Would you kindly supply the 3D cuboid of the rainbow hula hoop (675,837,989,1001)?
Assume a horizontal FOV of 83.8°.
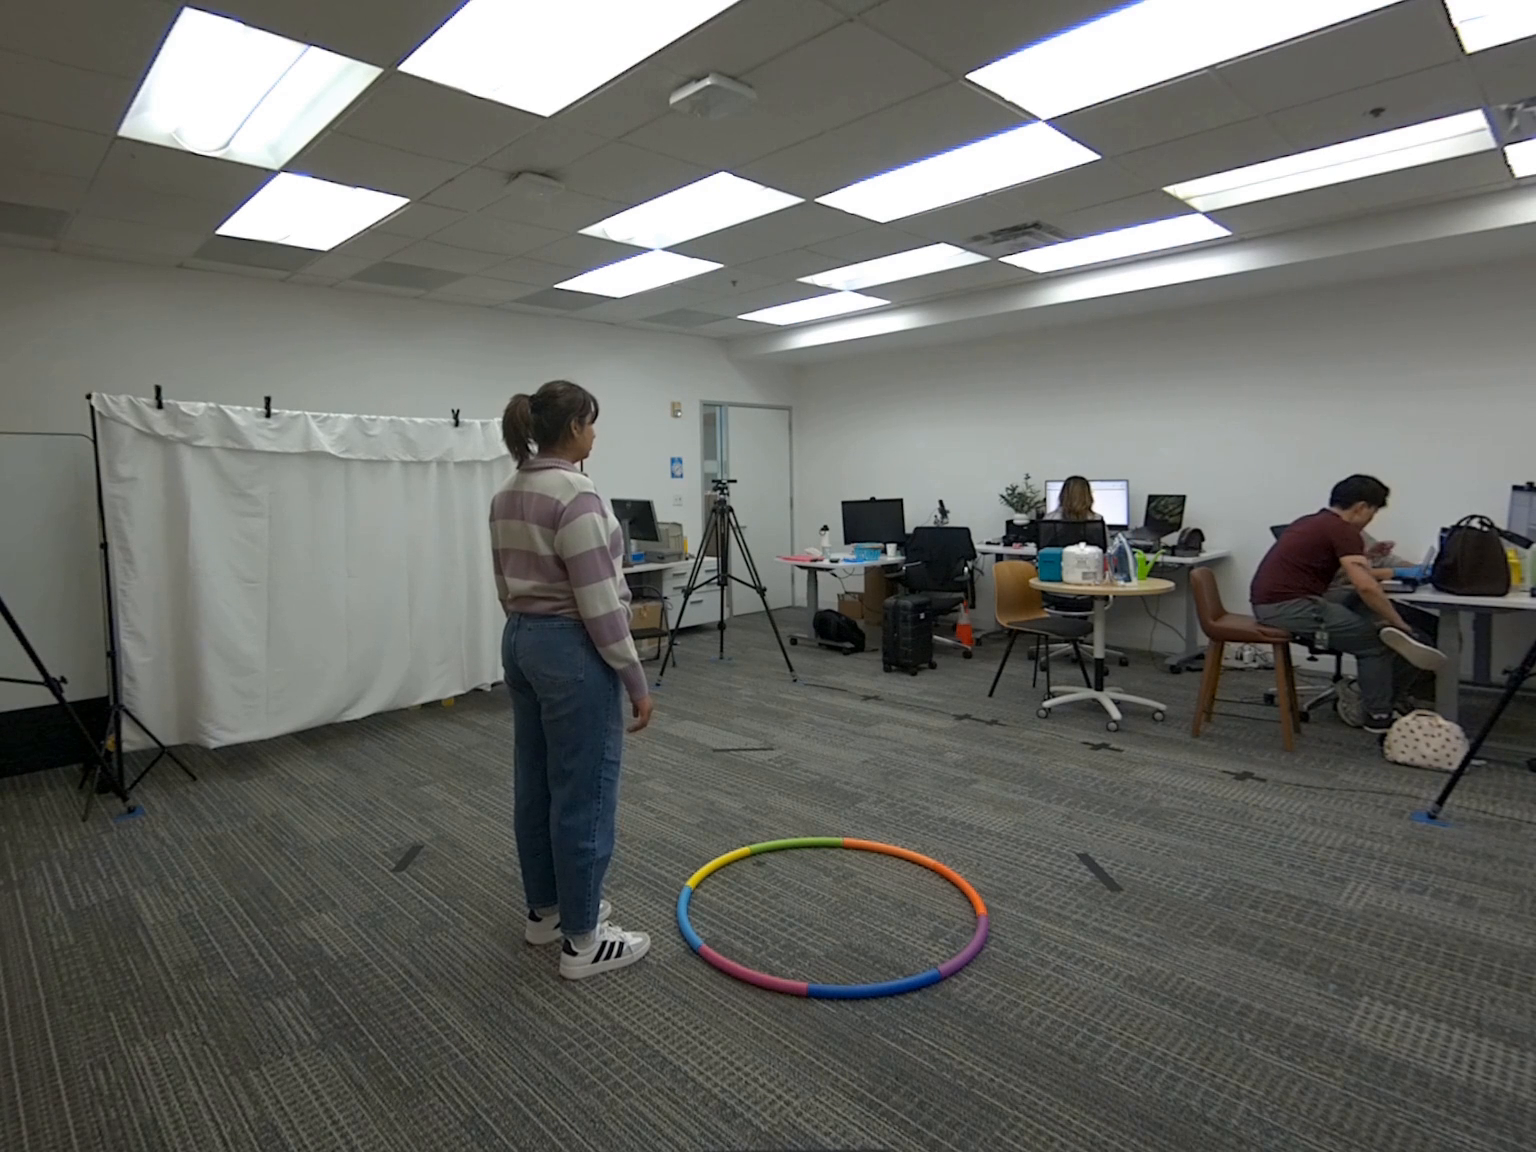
[{"bbox_3d":[0.199,1.055,2.776,0.985,0.051,0.991,-1,7,-2],"label":"rainbow hula hoop"}]
